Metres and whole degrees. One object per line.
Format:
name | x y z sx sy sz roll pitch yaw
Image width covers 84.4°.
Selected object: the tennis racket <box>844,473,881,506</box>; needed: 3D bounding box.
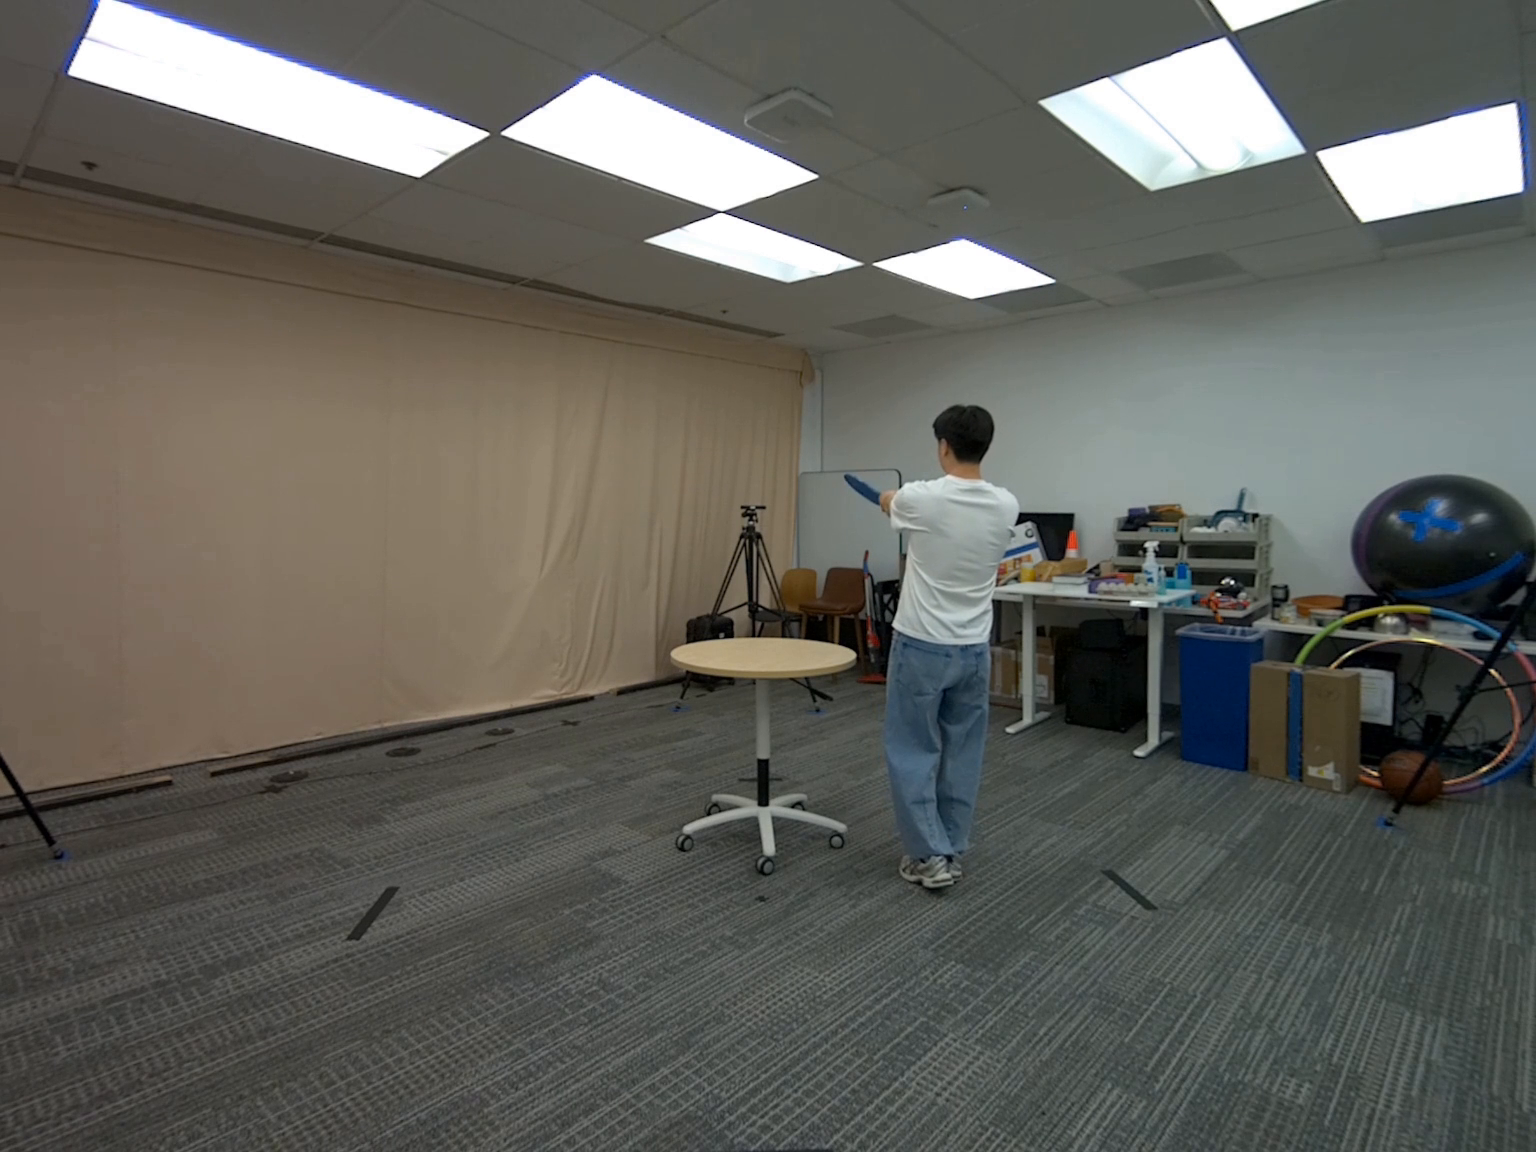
tennis racket | 0.493 -0.373 3.834 0.207 0.032 0.447 45 -5 -31
